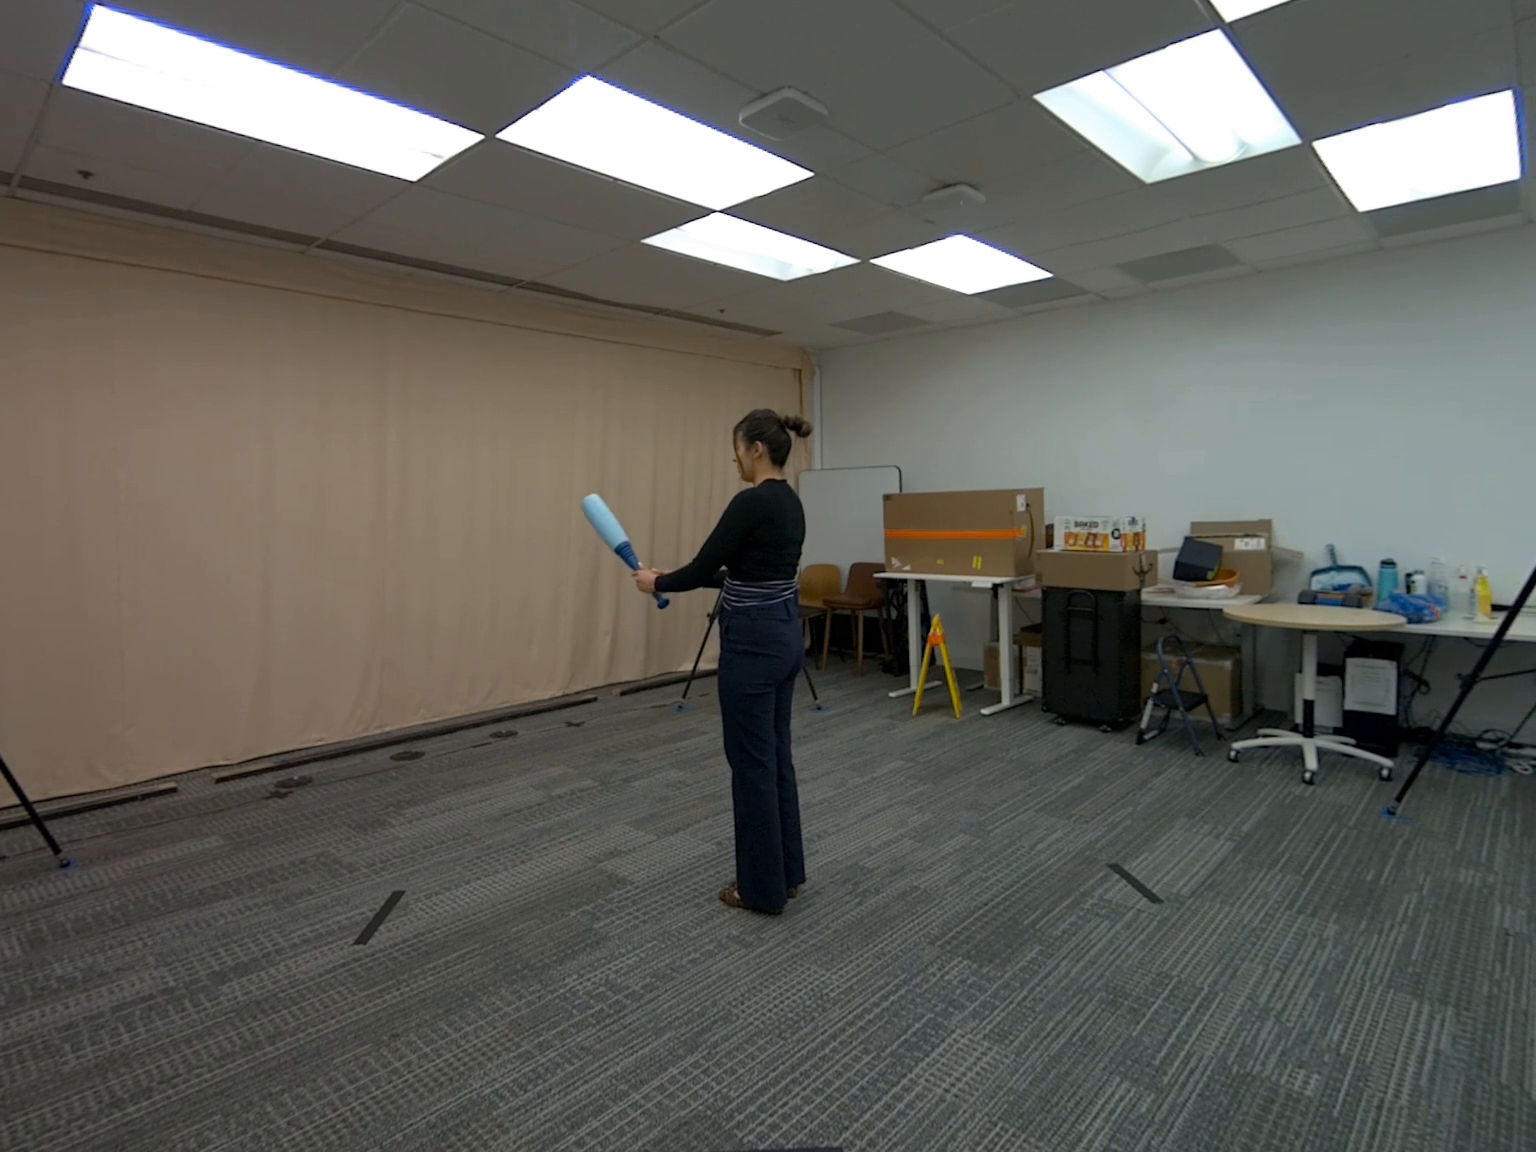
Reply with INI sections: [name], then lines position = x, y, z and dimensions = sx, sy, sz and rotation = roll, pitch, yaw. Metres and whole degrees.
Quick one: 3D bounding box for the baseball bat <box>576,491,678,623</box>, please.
[baseball bat]
position = -0.521, -0.077, 3.101
dimensions = 0.088, 0.556, 0.088
rotation = -32, -24, -17
